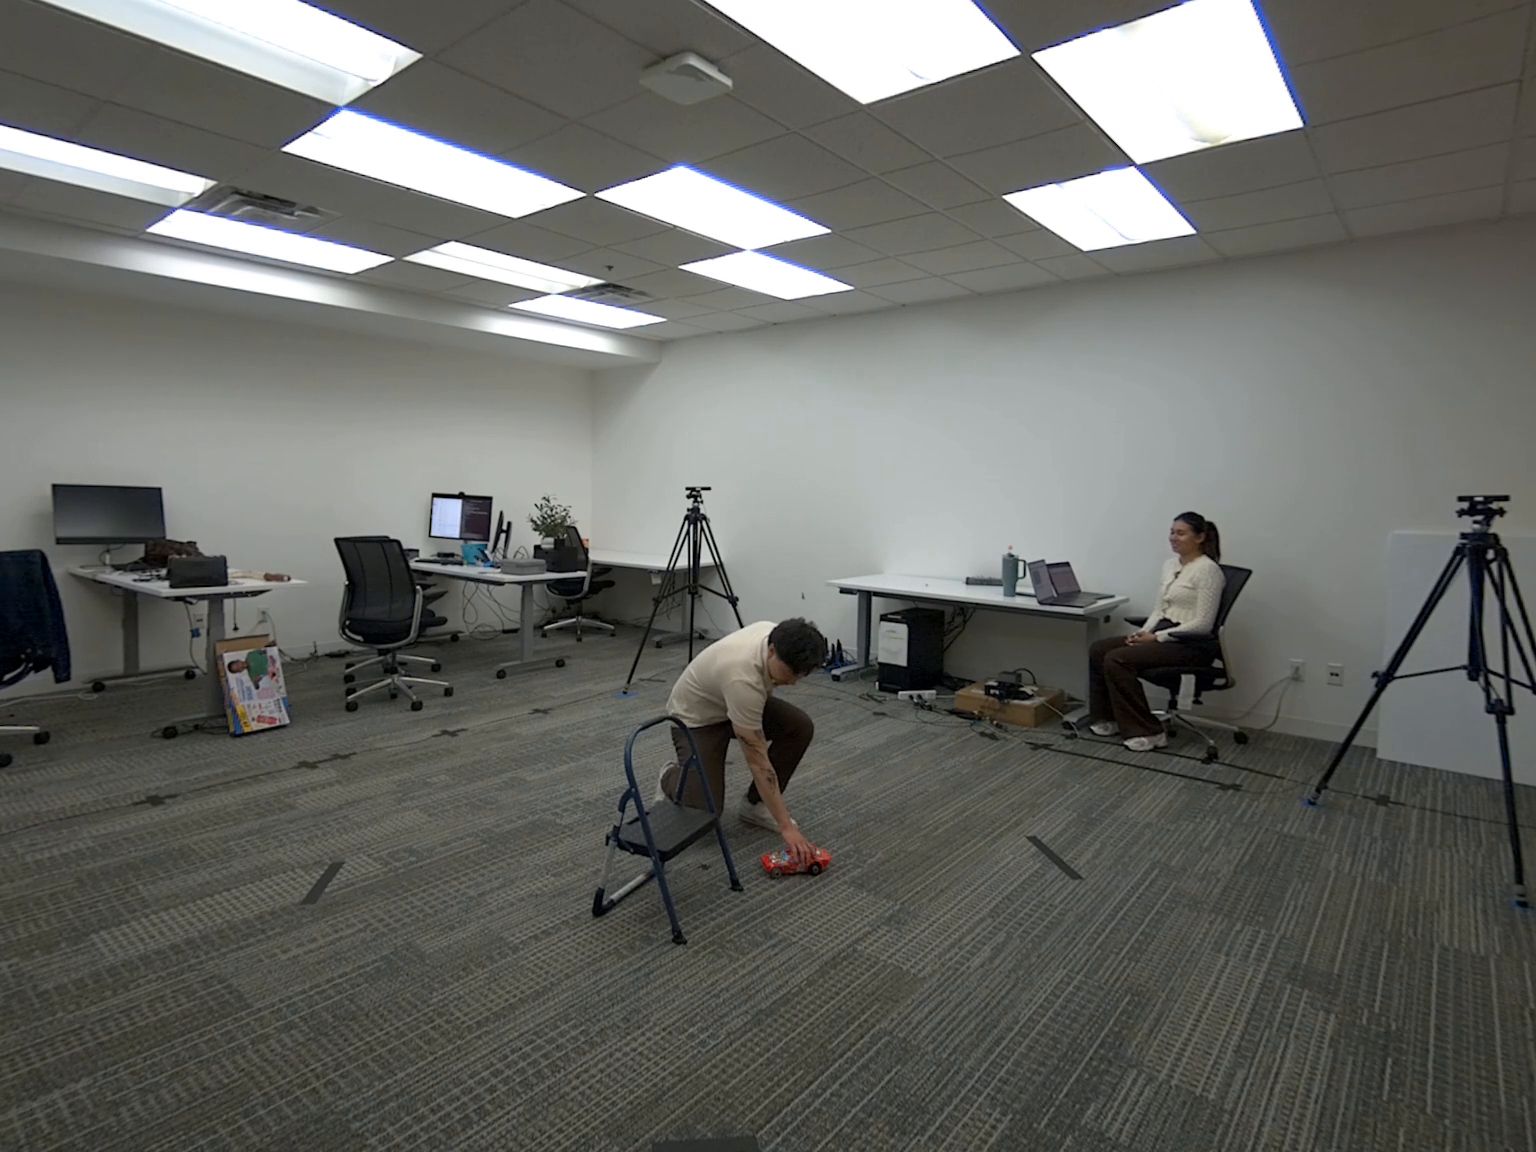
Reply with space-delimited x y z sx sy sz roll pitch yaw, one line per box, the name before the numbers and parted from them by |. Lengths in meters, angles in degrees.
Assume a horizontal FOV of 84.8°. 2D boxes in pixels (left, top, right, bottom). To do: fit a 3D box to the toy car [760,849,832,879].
toy car | 0.101 1.043 3.117 0.252 0.082 0.133 -13 9 -14
